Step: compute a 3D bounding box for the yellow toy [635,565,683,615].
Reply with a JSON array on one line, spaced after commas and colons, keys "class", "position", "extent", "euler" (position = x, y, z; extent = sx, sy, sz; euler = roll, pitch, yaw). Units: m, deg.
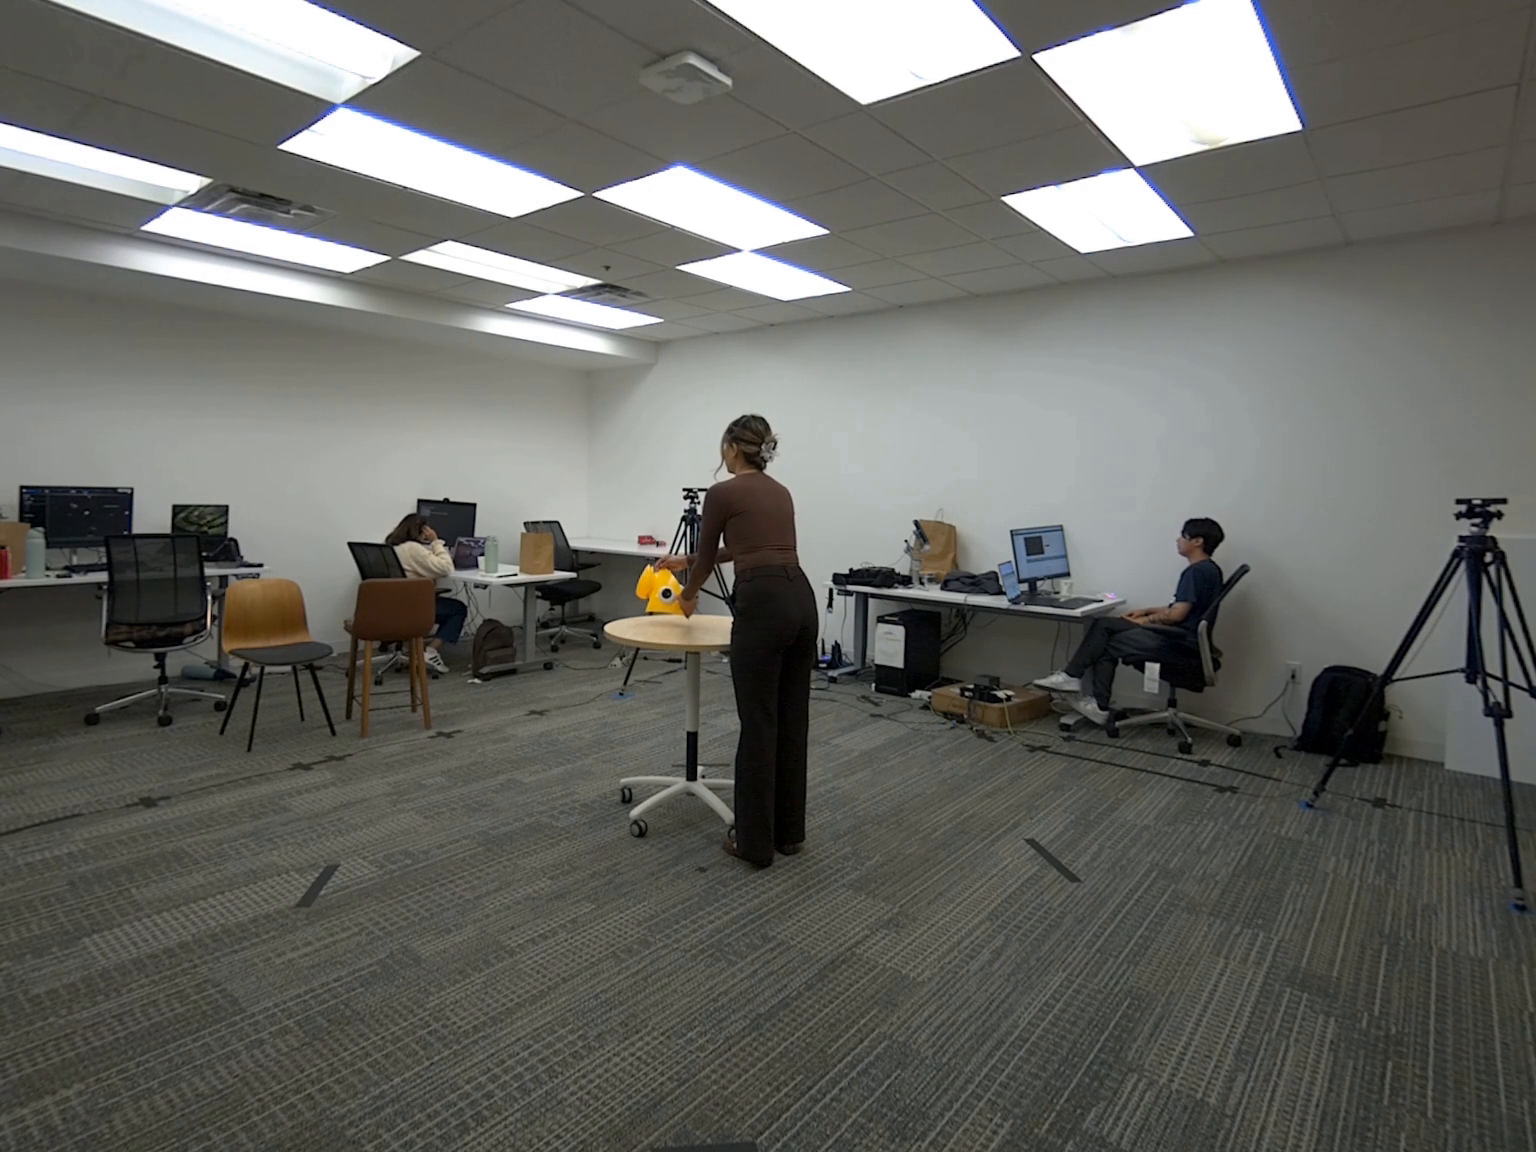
[{"class": "yellow toy", "position": [-0.438, 0.073, 3.723], "extent": [0.238, 0.191, 0.200], "euler": [25, 16, 23]}]
